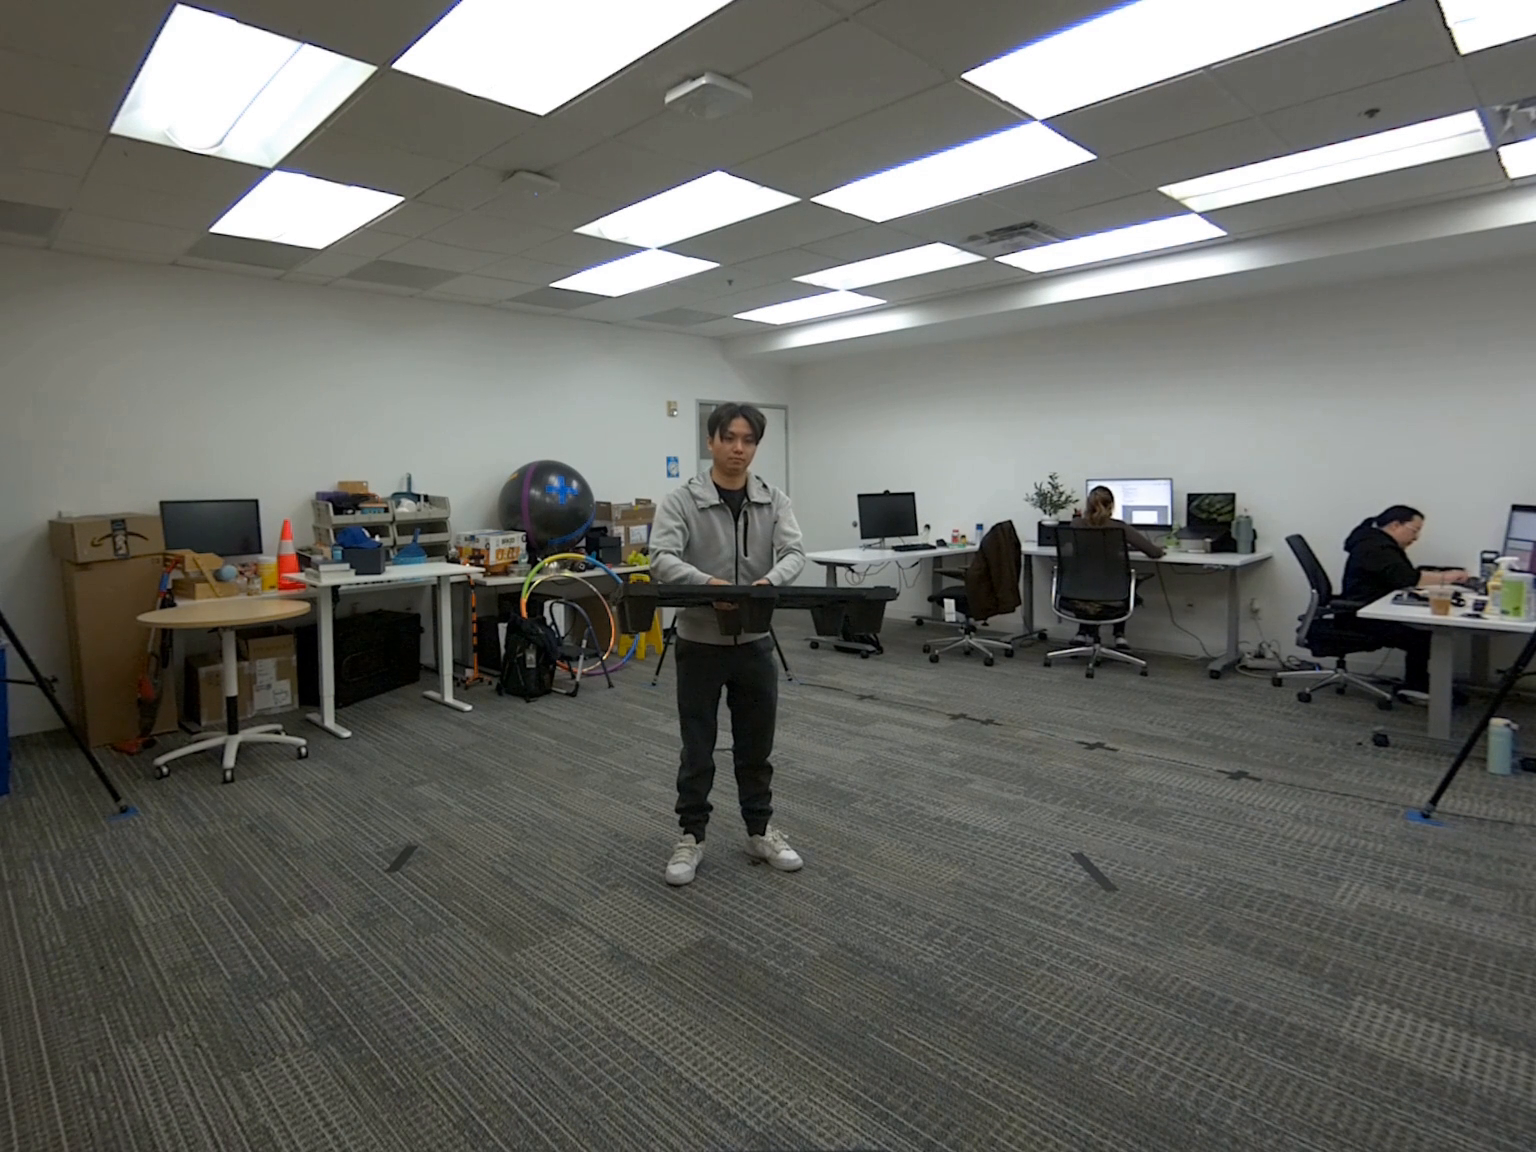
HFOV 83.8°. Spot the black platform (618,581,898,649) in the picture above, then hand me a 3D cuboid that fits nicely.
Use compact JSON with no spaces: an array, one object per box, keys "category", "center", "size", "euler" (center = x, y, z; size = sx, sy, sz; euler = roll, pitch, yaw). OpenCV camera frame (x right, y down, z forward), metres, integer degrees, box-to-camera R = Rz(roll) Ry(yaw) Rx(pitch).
[{"category":"black platform","center":[-0.068,0.124,2.681],"size":[0.797,0.144,0.608],"euler":[1,-5,-11]}]
